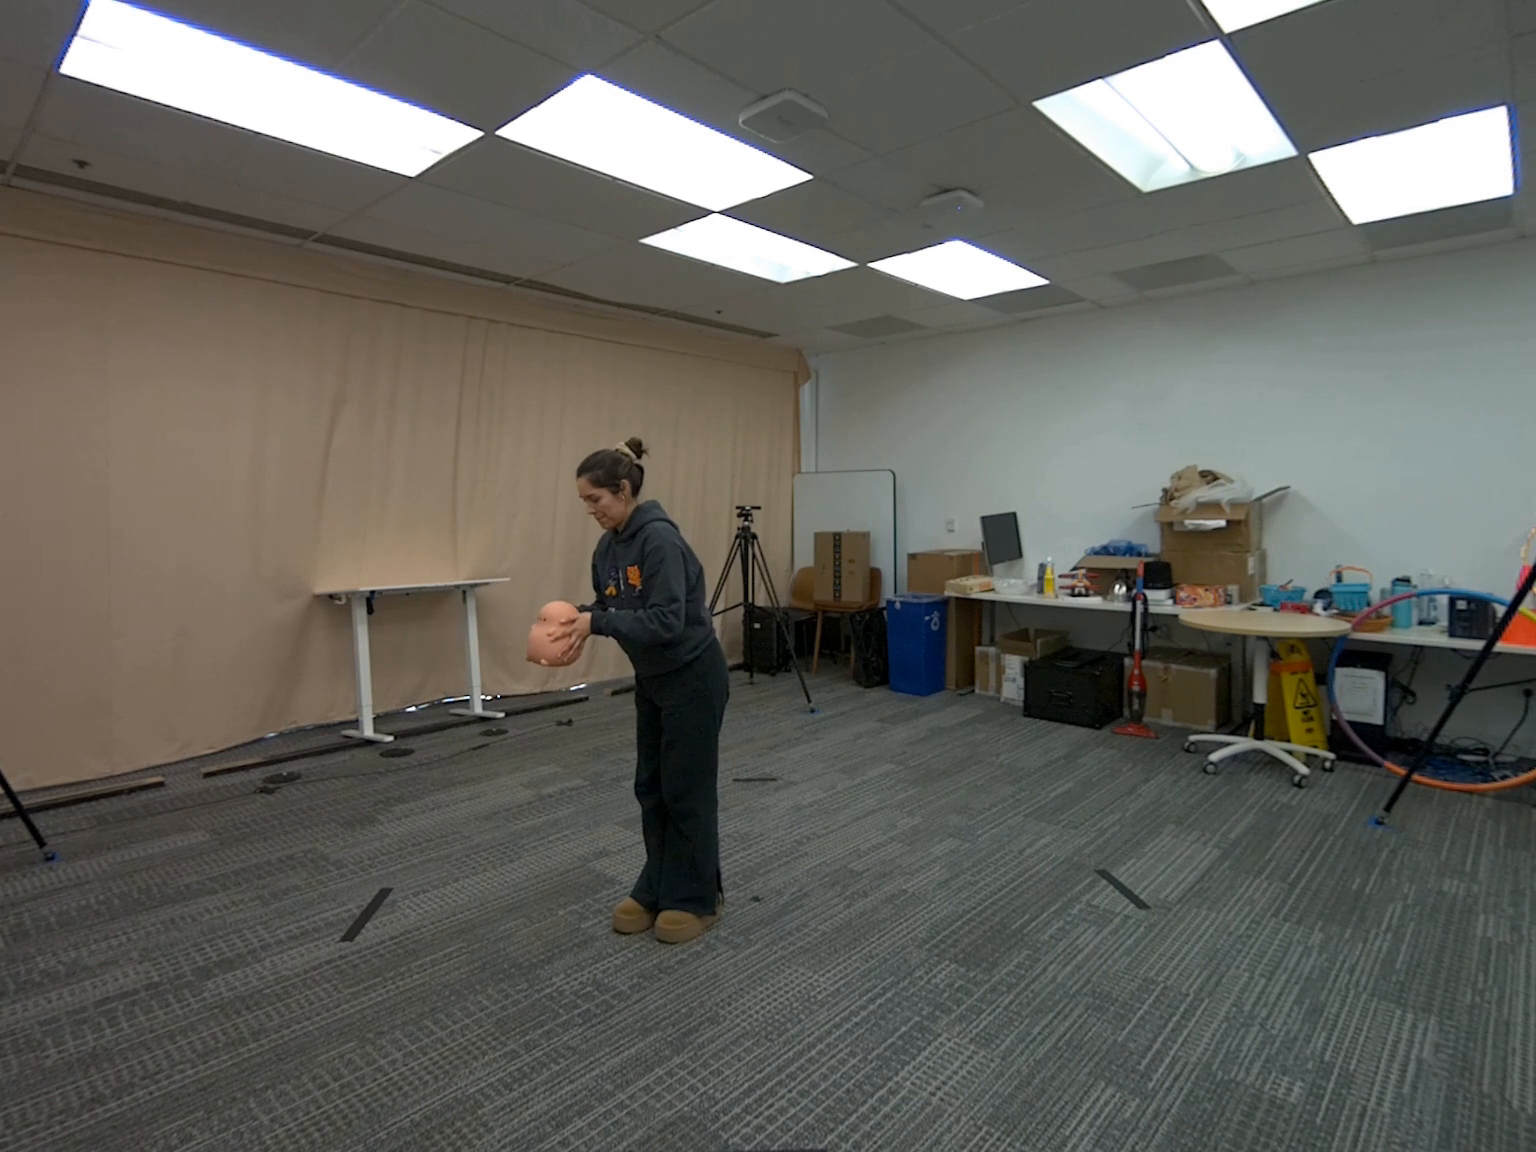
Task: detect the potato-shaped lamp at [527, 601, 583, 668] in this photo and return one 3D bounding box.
[{"bbox_3d":[-0.644,0.184,2.614,0.166,0.198,0.170,4,0,-39],"label":"potato-shaped lamp"}]
